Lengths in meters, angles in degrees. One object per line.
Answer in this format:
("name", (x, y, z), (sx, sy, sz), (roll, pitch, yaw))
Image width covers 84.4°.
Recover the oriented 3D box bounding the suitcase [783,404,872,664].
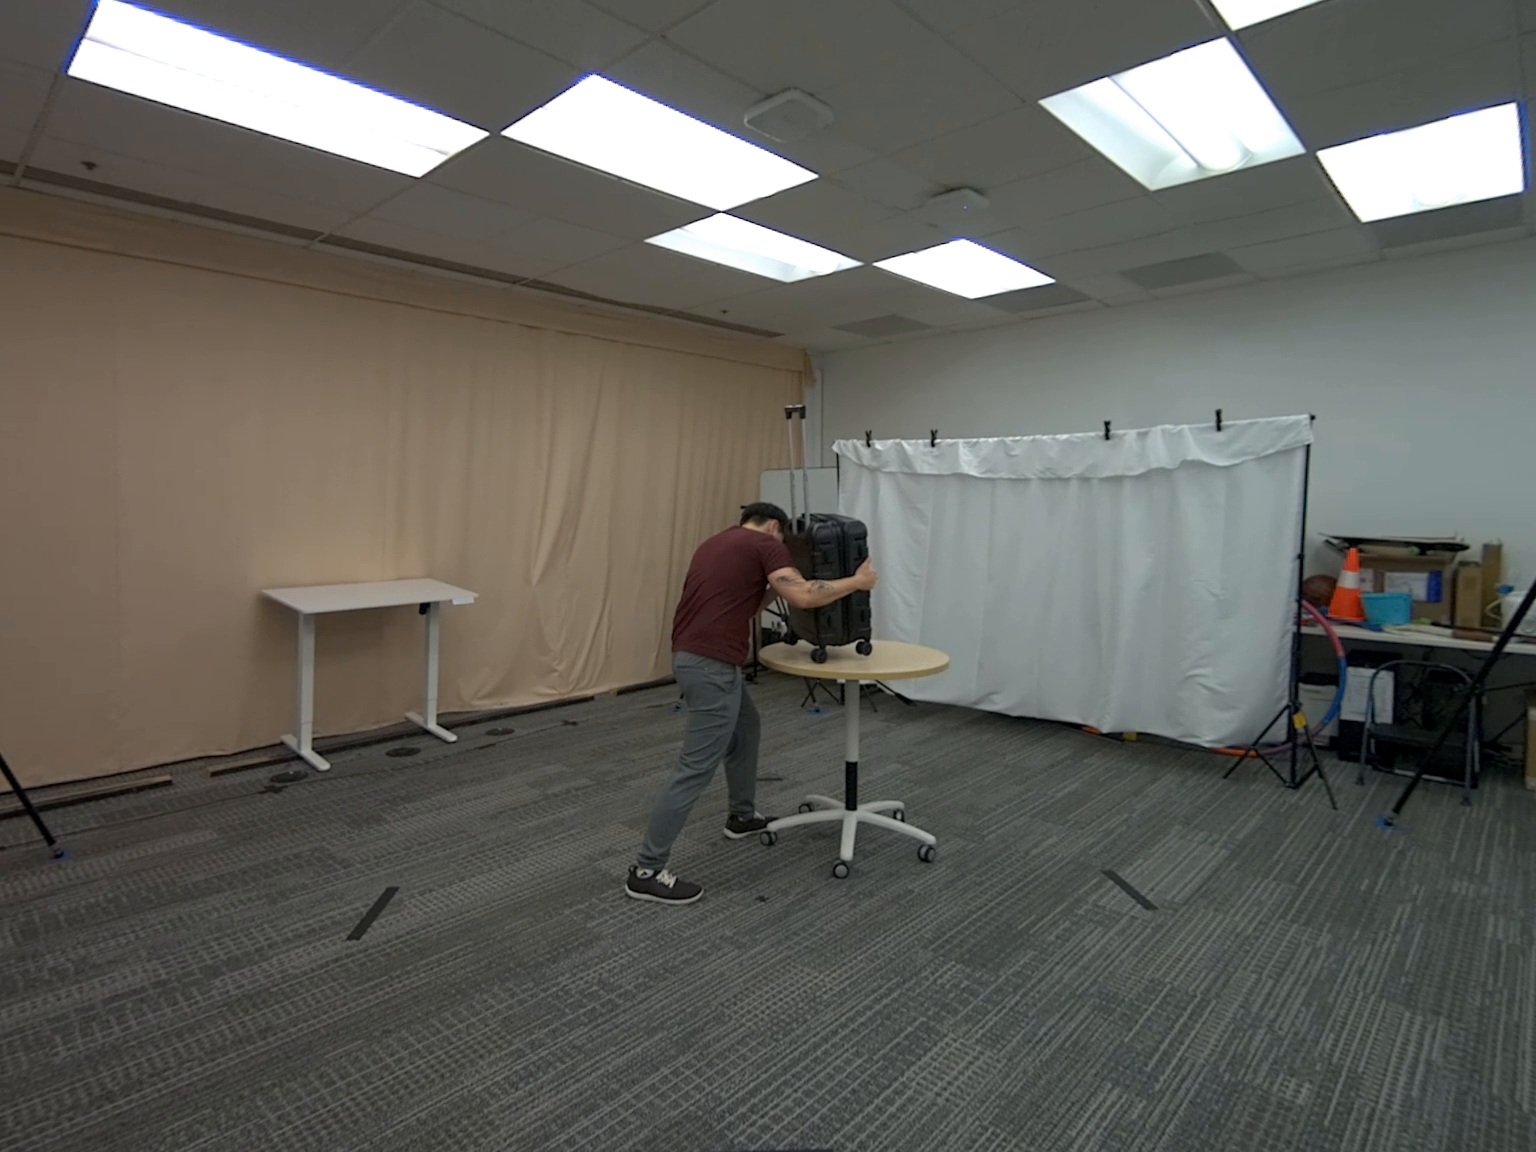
("suitcase", (0.234, -0.179, 3.357), (0.252, 0.973, 0.393), (-5, 9, -18))
